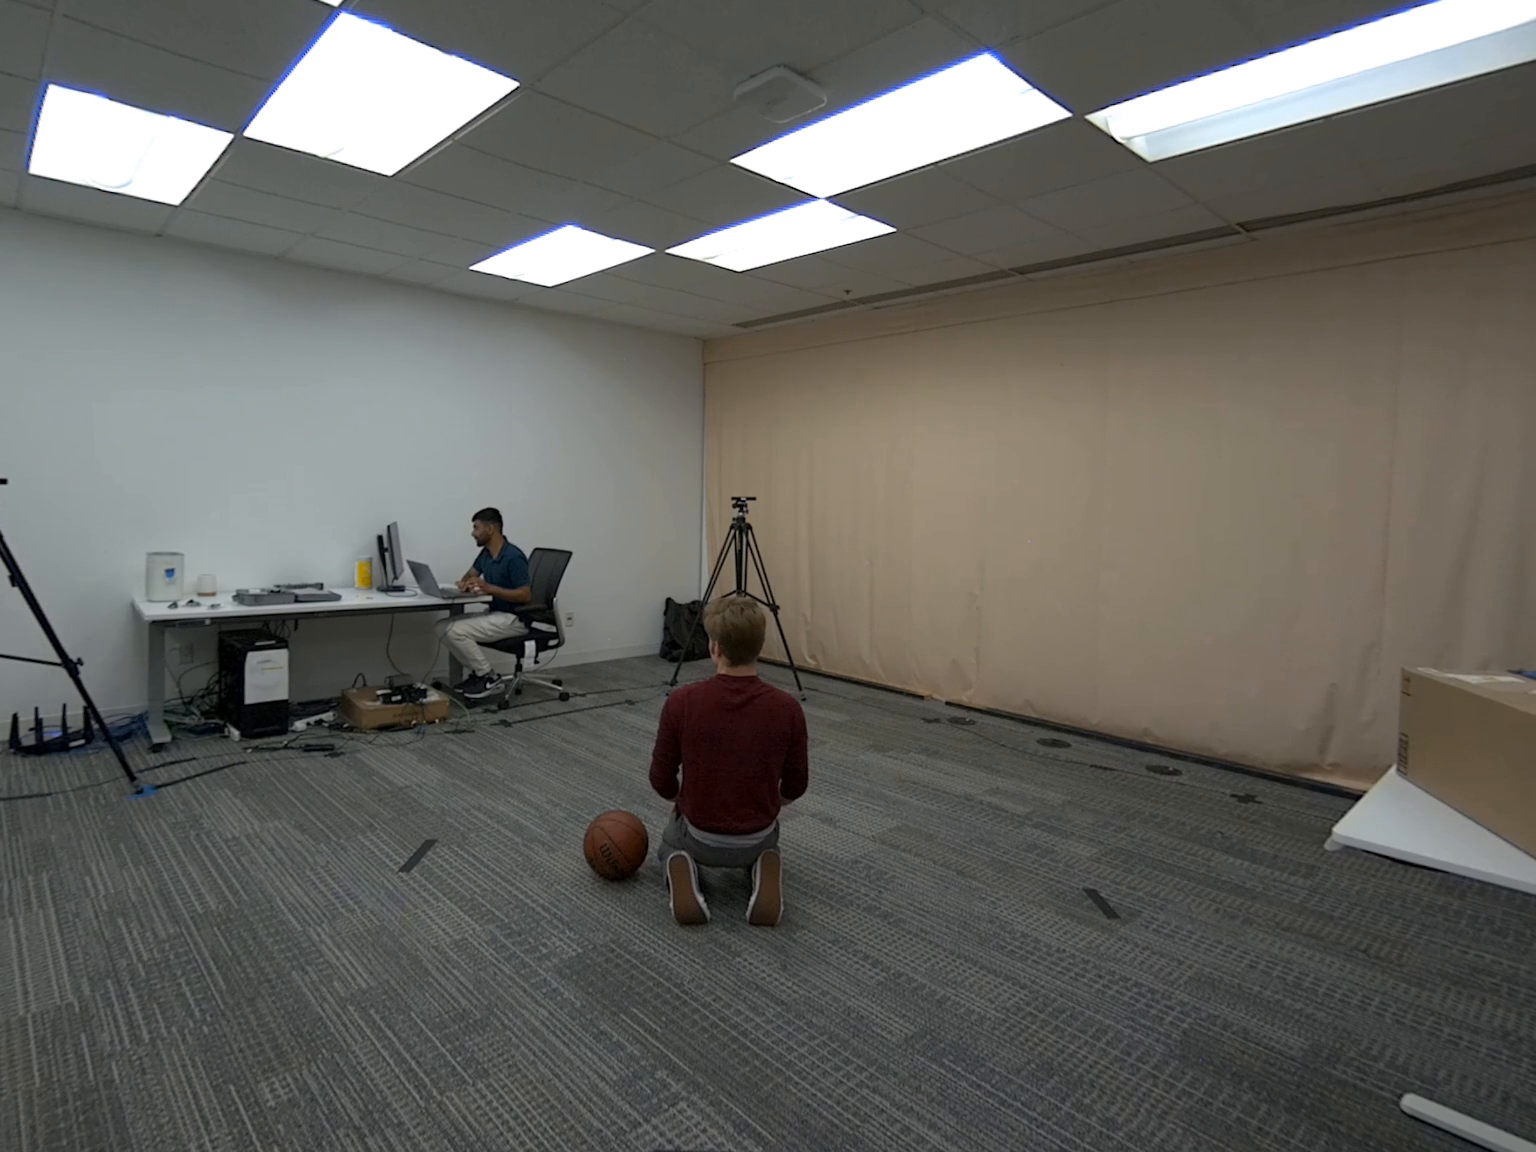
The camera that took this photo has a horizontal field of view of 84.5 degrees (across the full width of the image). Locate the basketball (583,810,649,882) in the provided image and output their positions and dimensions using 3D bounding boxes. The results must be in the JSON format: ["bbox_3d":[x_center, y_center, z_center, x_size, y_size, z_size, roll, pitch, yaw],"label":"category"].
[{"bbox_3d":[-0.559,0.976,3.086,0.236,0.235,0.237,1,4,-1],"label":"basketball"}]
